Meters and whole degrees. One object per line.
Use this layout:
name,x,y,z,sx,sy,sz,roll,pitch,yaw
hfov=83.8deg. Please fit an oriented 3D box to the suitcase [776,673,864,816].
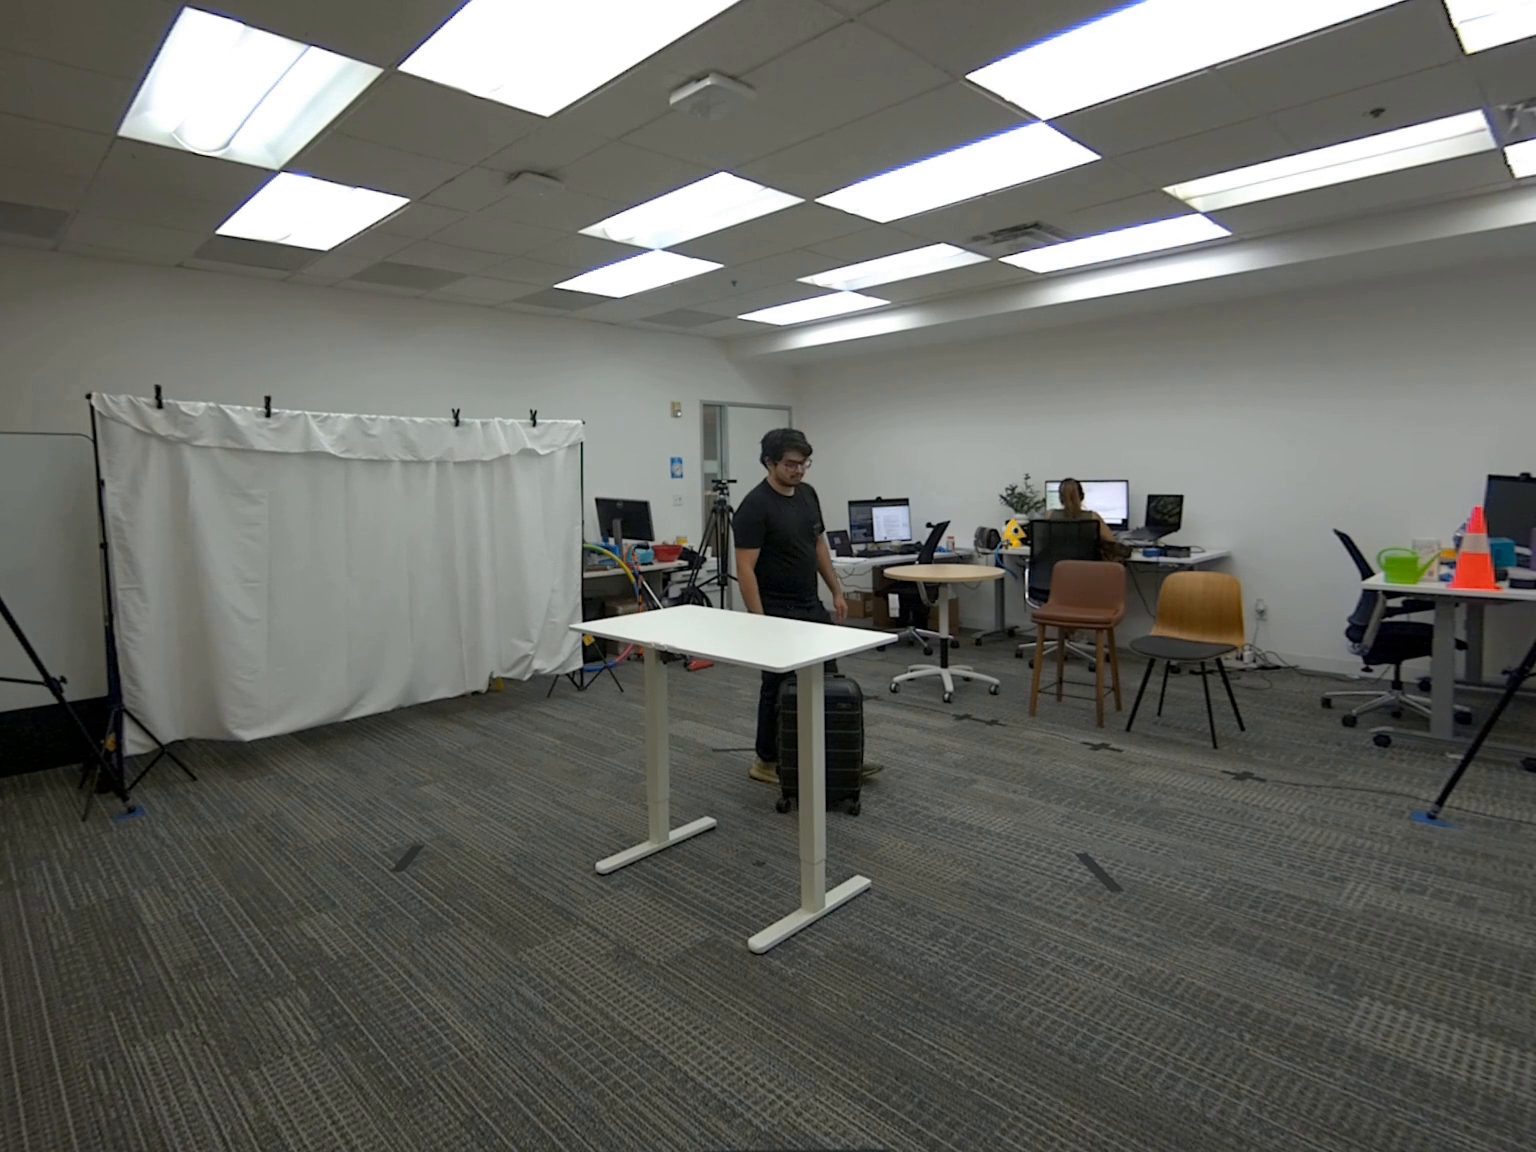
suitcase,0.229,0.707,3.681,0.377,0.548,0.248,0,2,4
